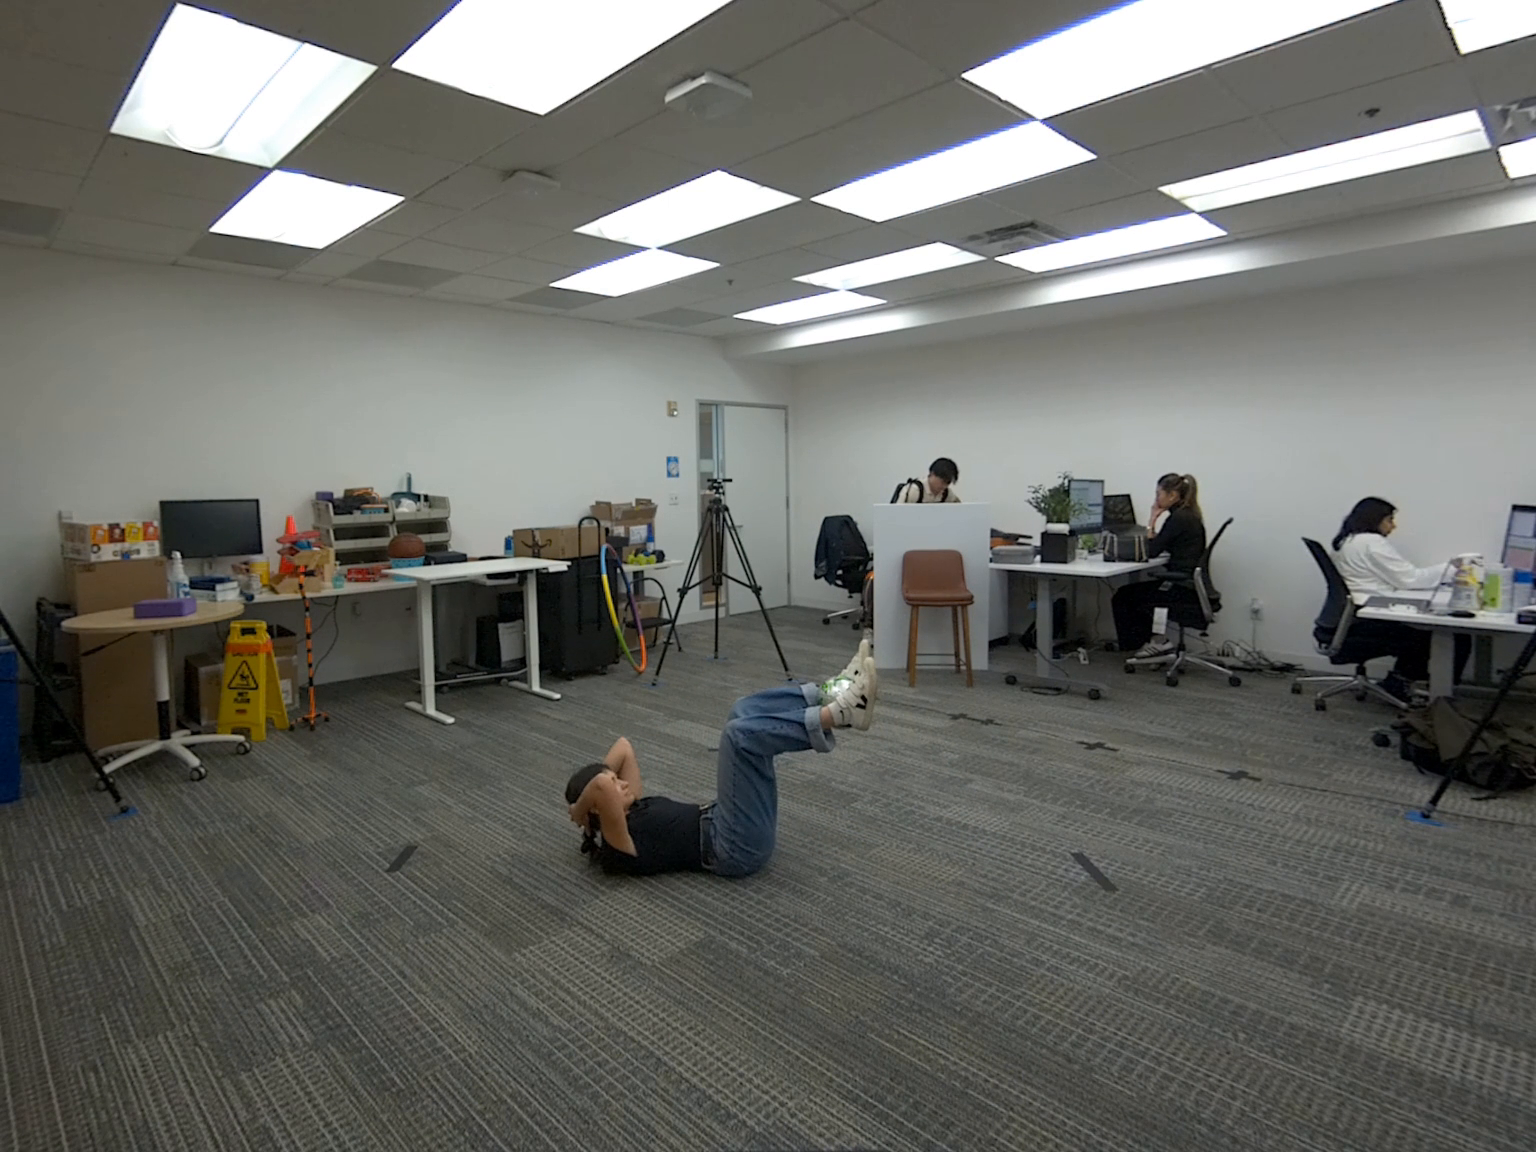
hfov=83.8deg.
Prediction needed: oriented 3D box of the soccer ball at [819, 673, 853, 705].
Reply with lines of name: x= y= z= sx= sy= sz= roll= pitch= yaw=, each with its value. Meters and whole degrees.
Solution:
soccer ball: x=0.268 y=0.457 z=3.048 sx=0.187 sy=0.187 sz=0.188 roll=0 pitch=1 yaw=-2
